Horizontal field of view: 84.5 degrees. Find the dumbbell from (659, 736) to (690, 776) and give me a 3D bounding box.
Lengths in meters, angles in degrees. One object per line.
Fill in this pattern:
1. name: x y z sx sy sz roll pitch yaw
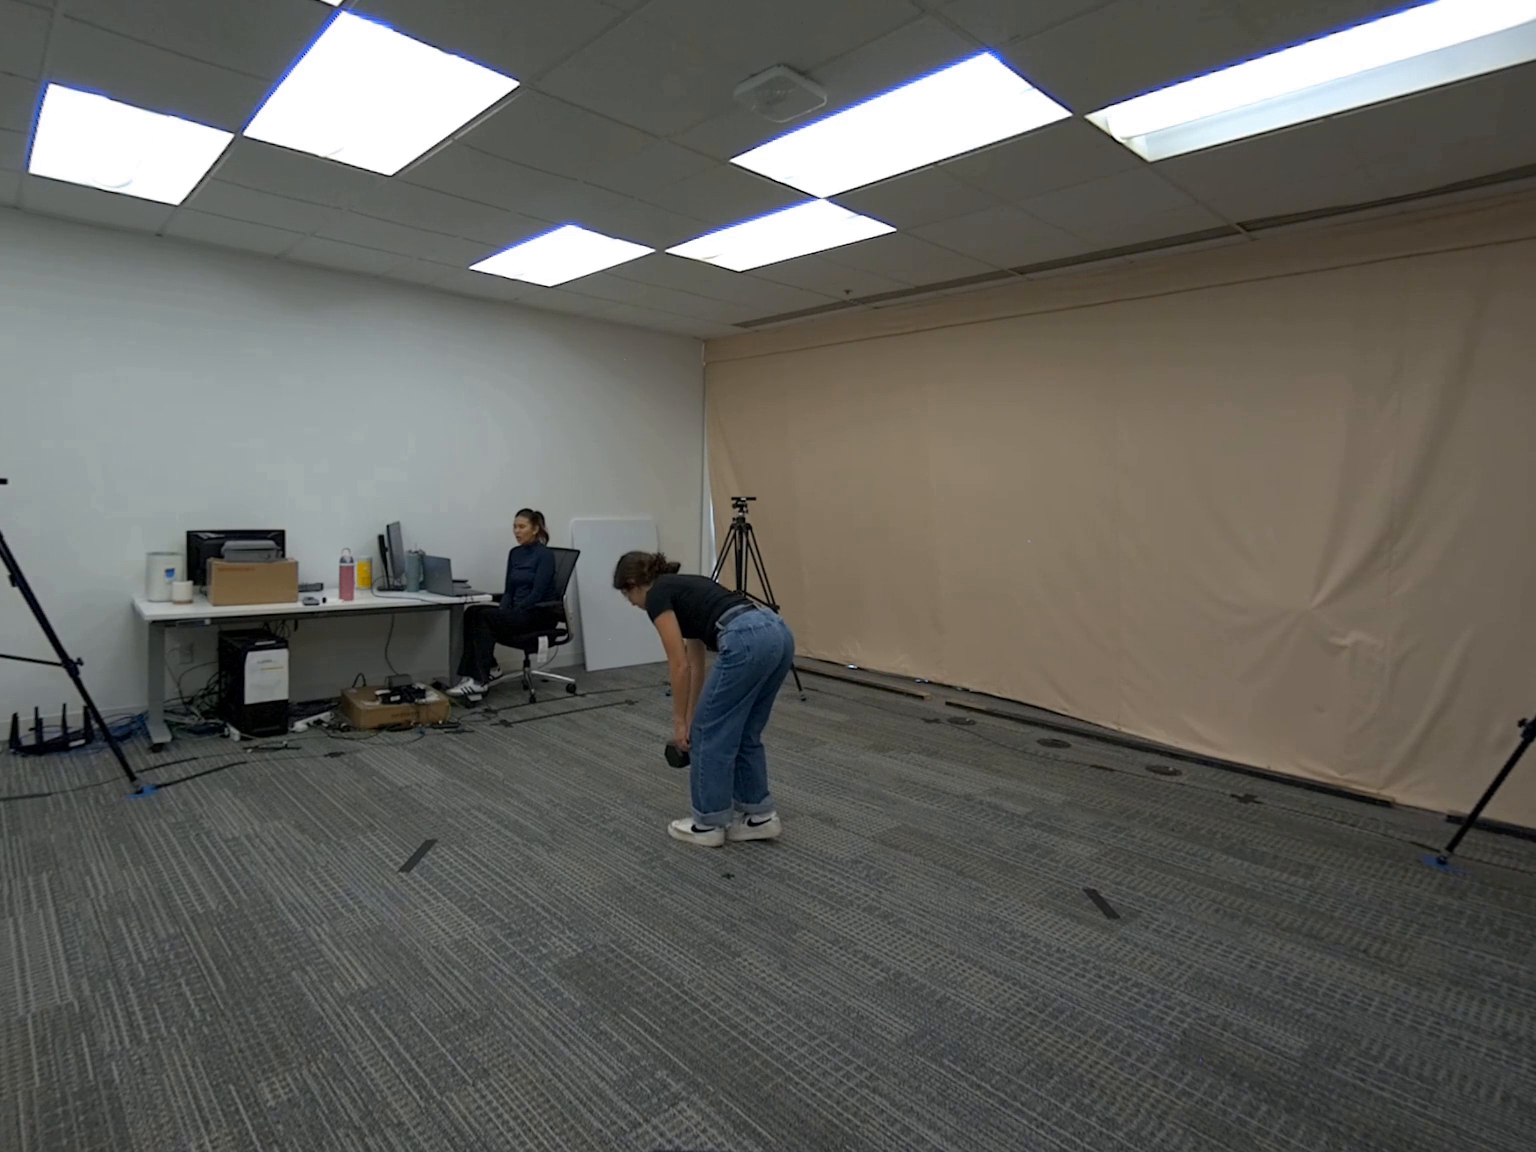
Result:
1. dumbbell: -0.292 0.707 3.529 0.288 0.125 0.109 -12 -27 -47
